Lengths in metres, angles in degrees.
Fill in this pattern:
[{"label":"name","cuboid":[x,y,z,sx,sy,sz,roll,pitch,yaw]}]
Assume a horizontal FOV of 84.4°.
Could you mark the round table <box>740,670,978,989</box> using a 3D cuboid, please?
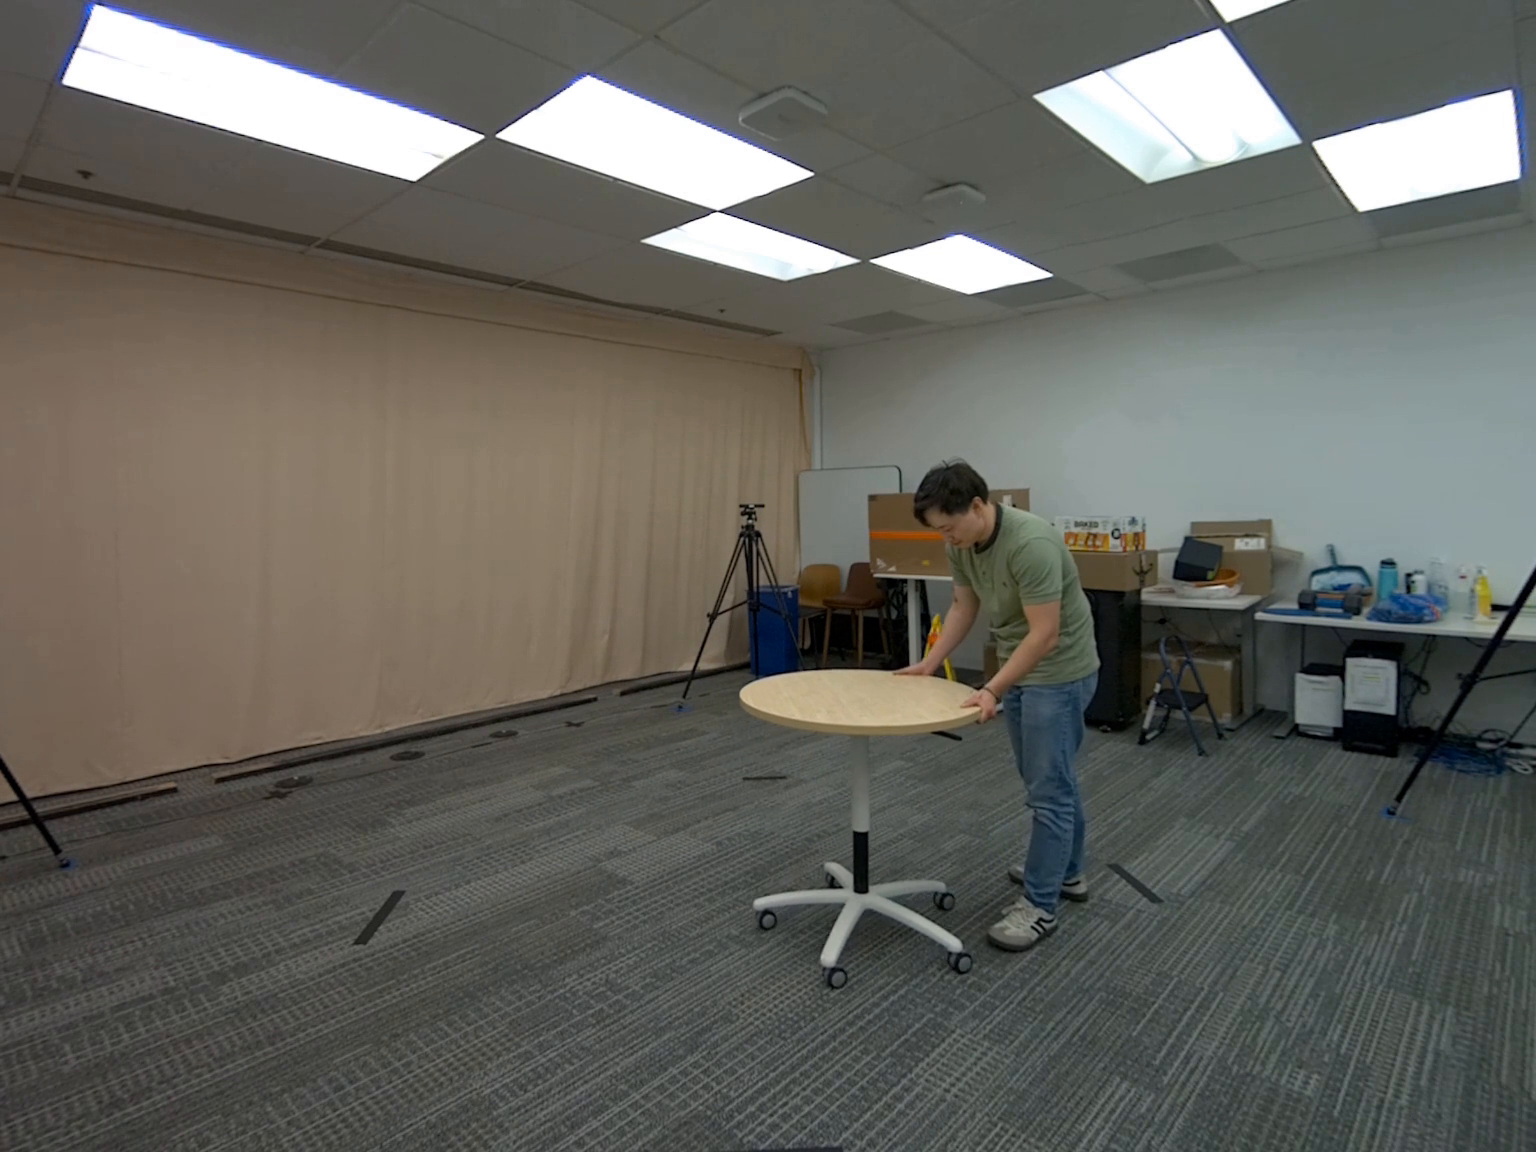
[{"label":"round table","cuboid":[0.299,0.773,2.708,0.763,0.792,0.767,-1,4,-2]}]
